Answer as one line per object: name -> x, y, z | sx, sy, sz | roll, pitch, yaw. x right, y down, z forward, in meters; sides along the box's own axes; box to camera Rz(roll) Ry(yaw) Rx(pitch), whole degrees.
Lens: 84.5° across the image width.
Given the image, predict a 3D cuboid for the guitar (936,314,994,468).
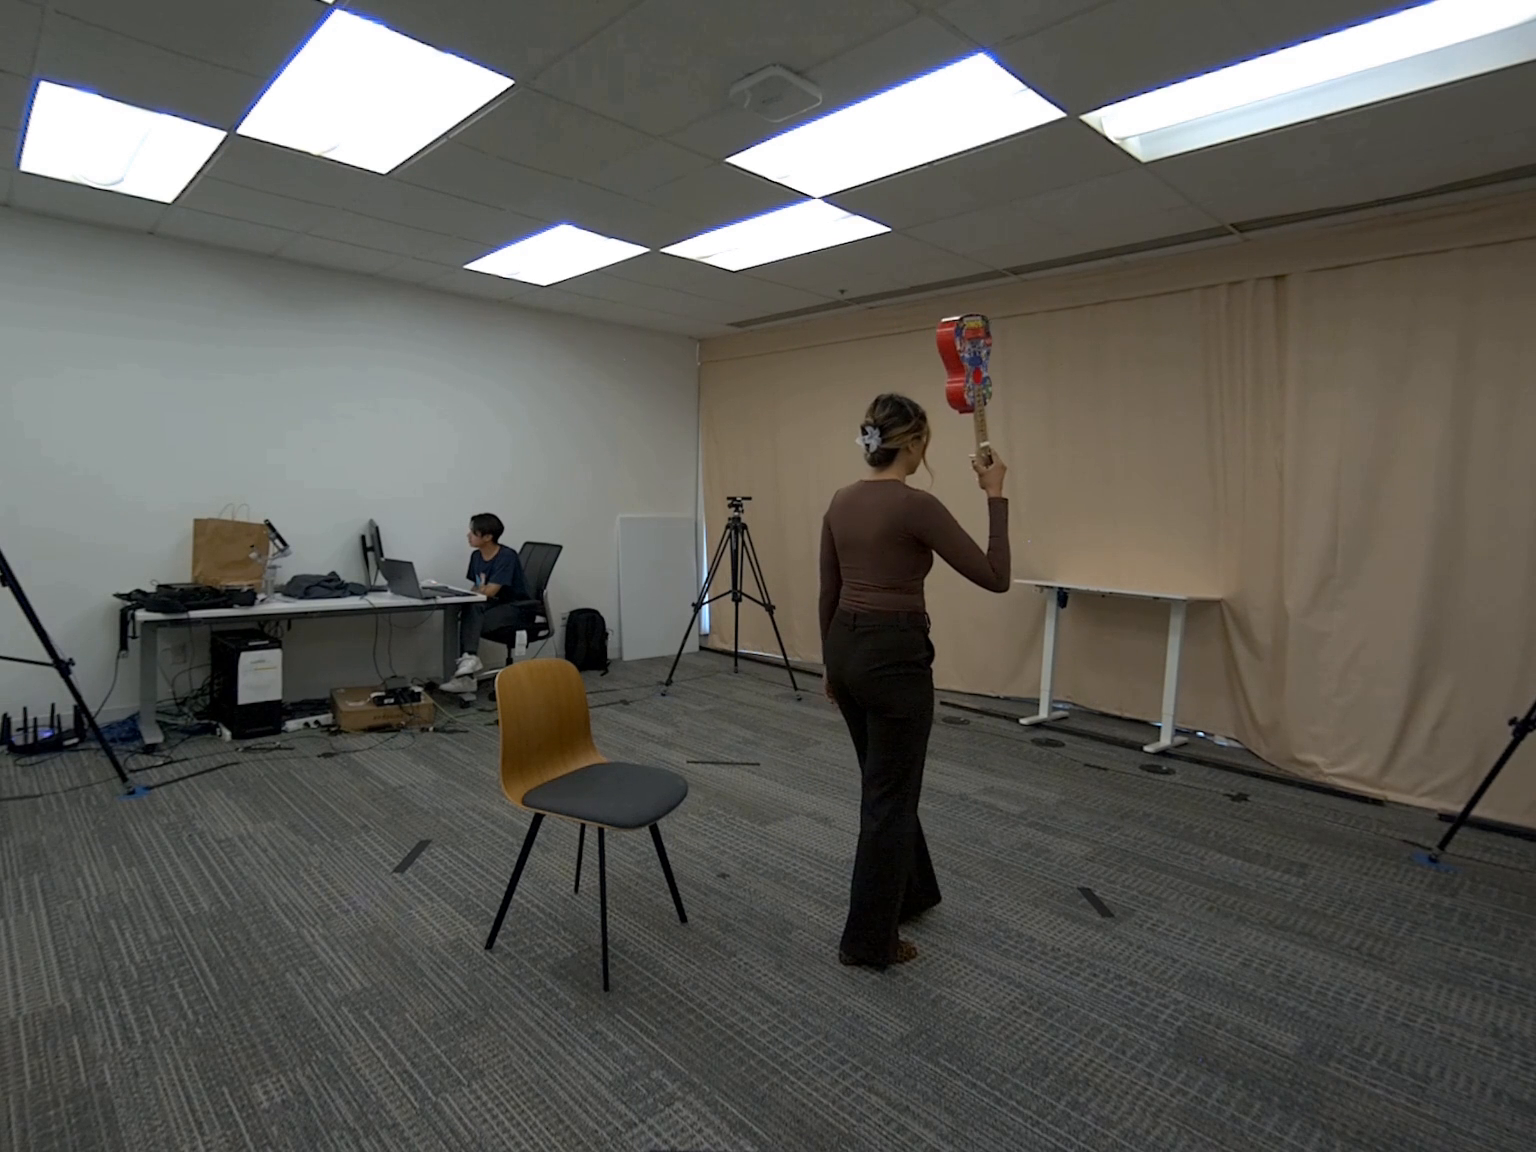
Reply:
guitar -> 0.558, -0.492, 2.388 | 0.189, 0.496, 0.072 | -7, 8, -44
